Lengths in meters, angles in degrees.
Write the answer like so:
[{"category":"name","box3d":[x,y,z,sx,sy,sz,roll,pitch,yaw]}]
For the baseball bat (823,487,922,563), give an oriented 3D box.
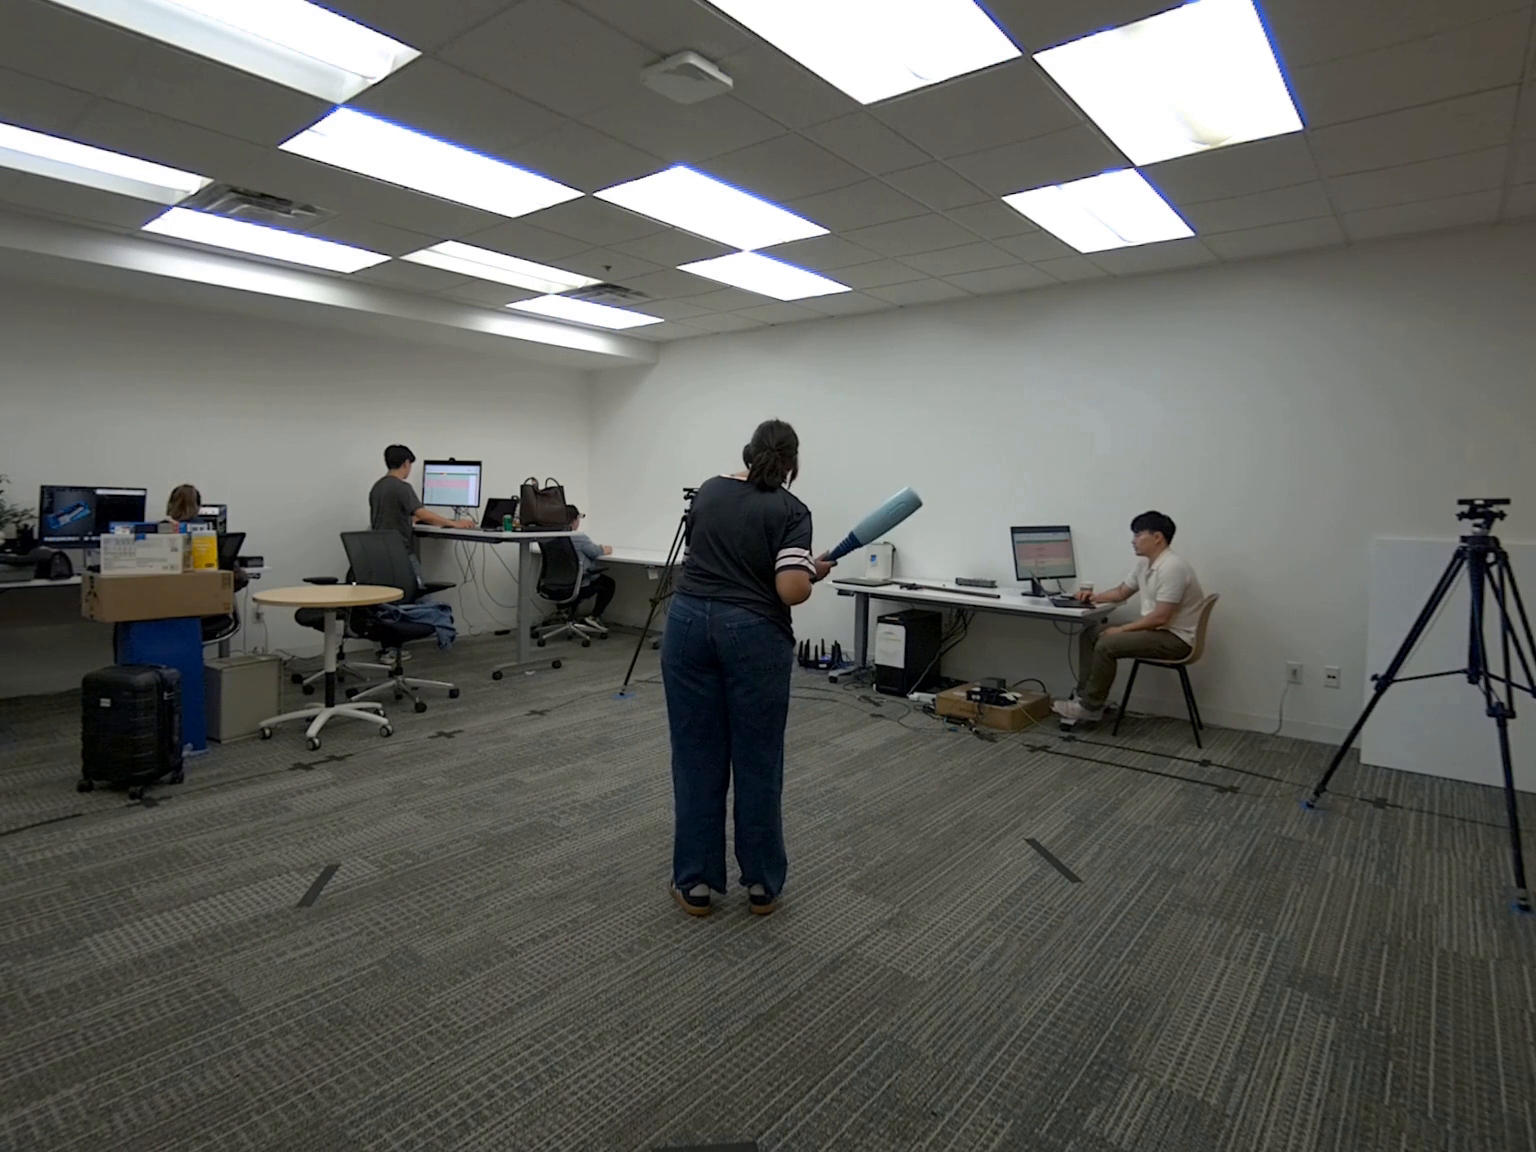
[{"category":"baseball bat","box3d":[0.289,-0.089,2.934,0.544,0.089,0.088,-36,-2,9]}]
